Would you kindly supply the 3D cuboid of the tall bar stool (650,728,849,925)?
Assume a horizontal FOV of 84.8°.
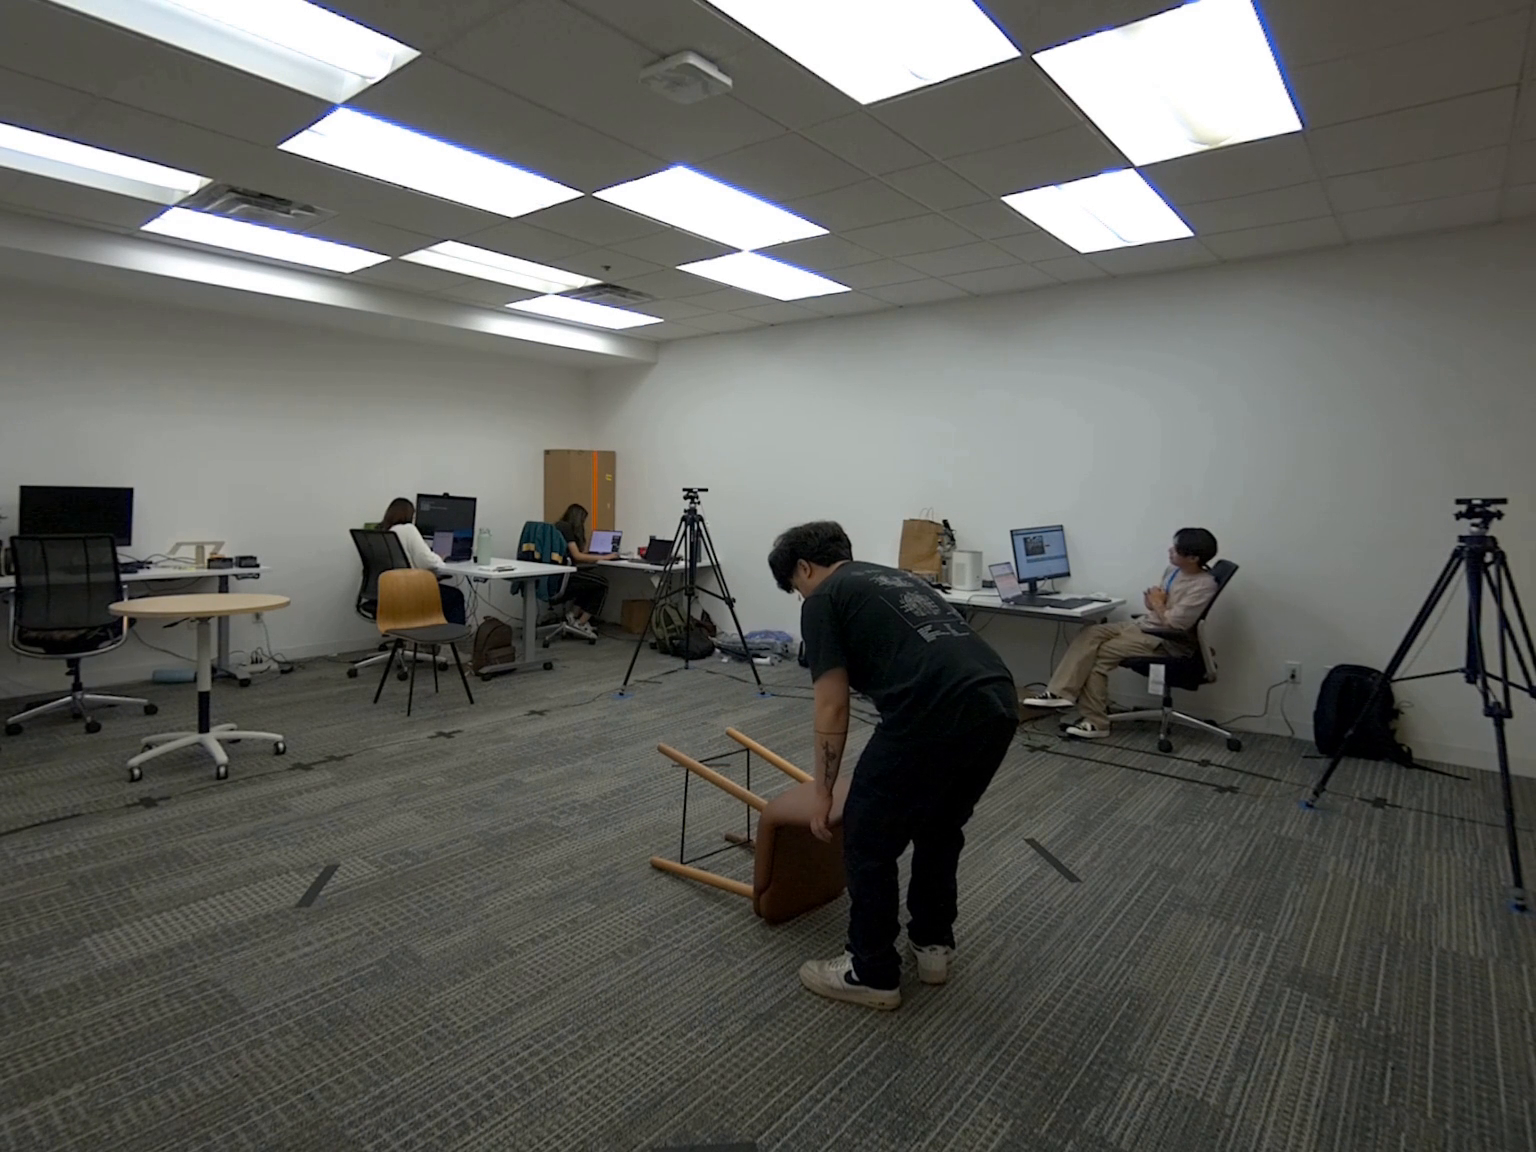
[{"bbox_3d":[0.018,0.864,2.928,0.920,0.466,0.442,5,5,45],"label":"tall bar stool"}]
